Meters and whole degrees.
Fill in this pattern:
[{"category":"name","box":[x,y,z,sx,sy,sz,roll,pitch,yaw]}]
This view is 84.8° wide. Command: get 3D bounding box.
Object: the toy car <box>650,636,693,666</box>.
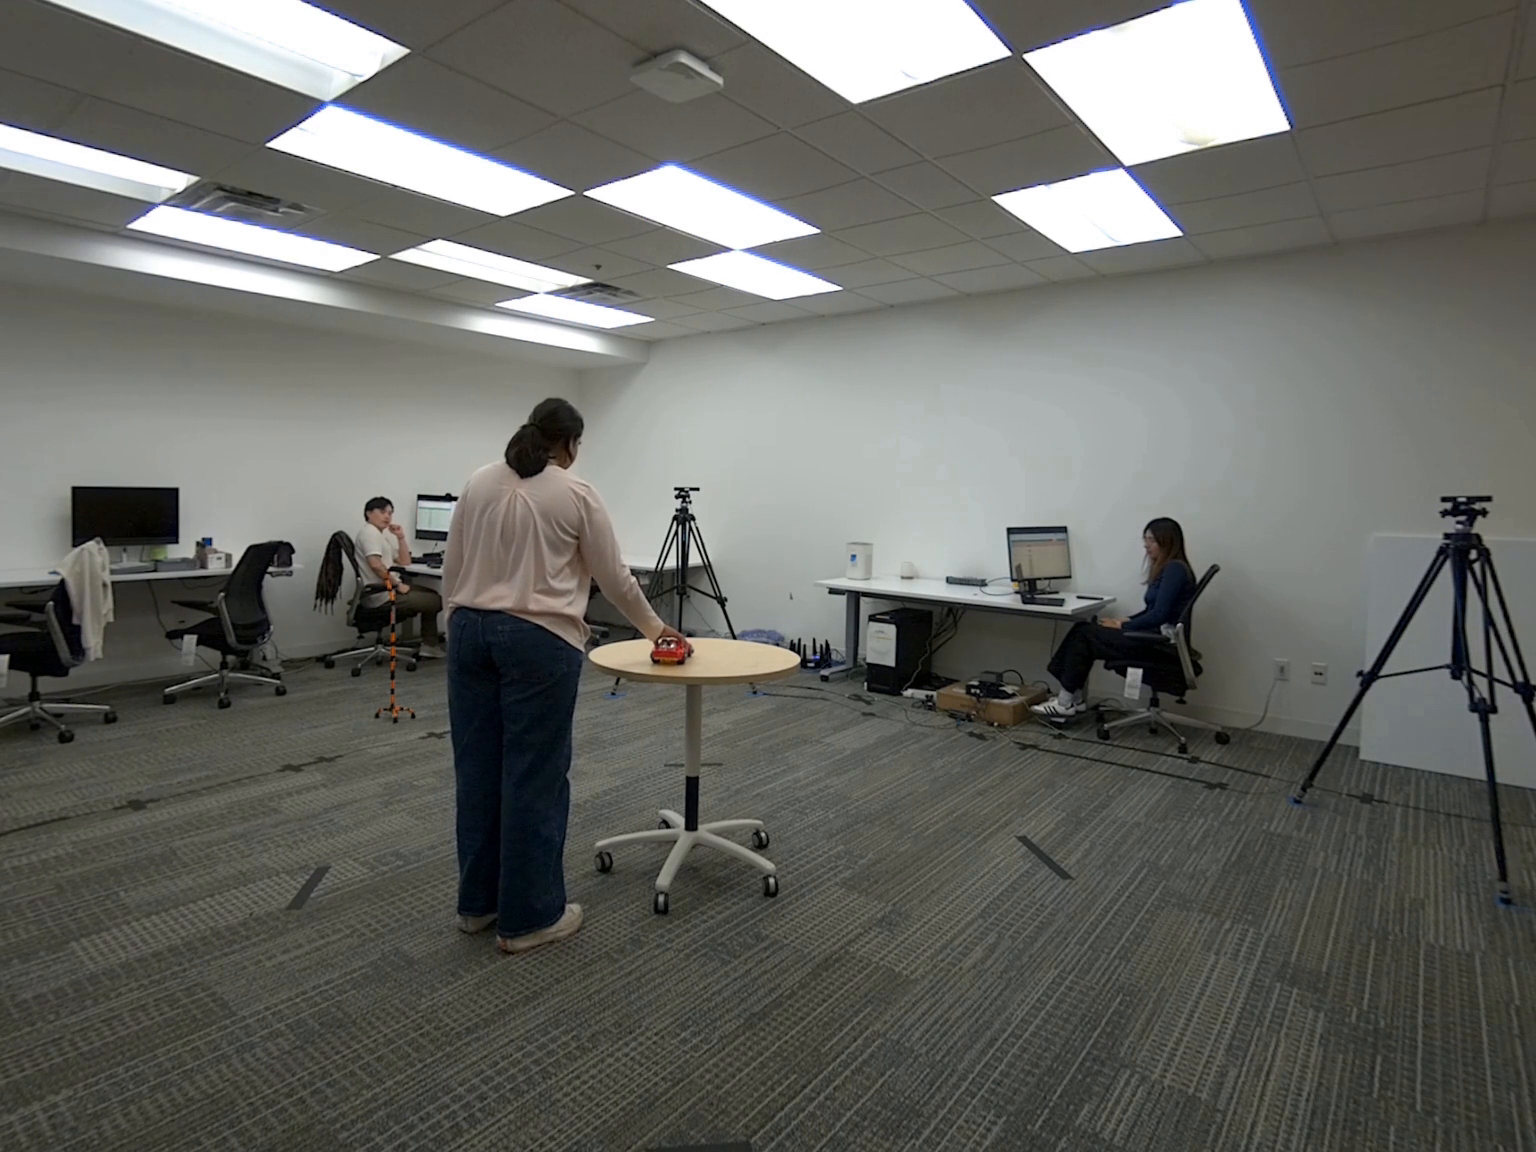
[{"category":"toy car","box":[-0.345,0.261,2.966,0.131,0.084,0.251,1,-7,3]}]
